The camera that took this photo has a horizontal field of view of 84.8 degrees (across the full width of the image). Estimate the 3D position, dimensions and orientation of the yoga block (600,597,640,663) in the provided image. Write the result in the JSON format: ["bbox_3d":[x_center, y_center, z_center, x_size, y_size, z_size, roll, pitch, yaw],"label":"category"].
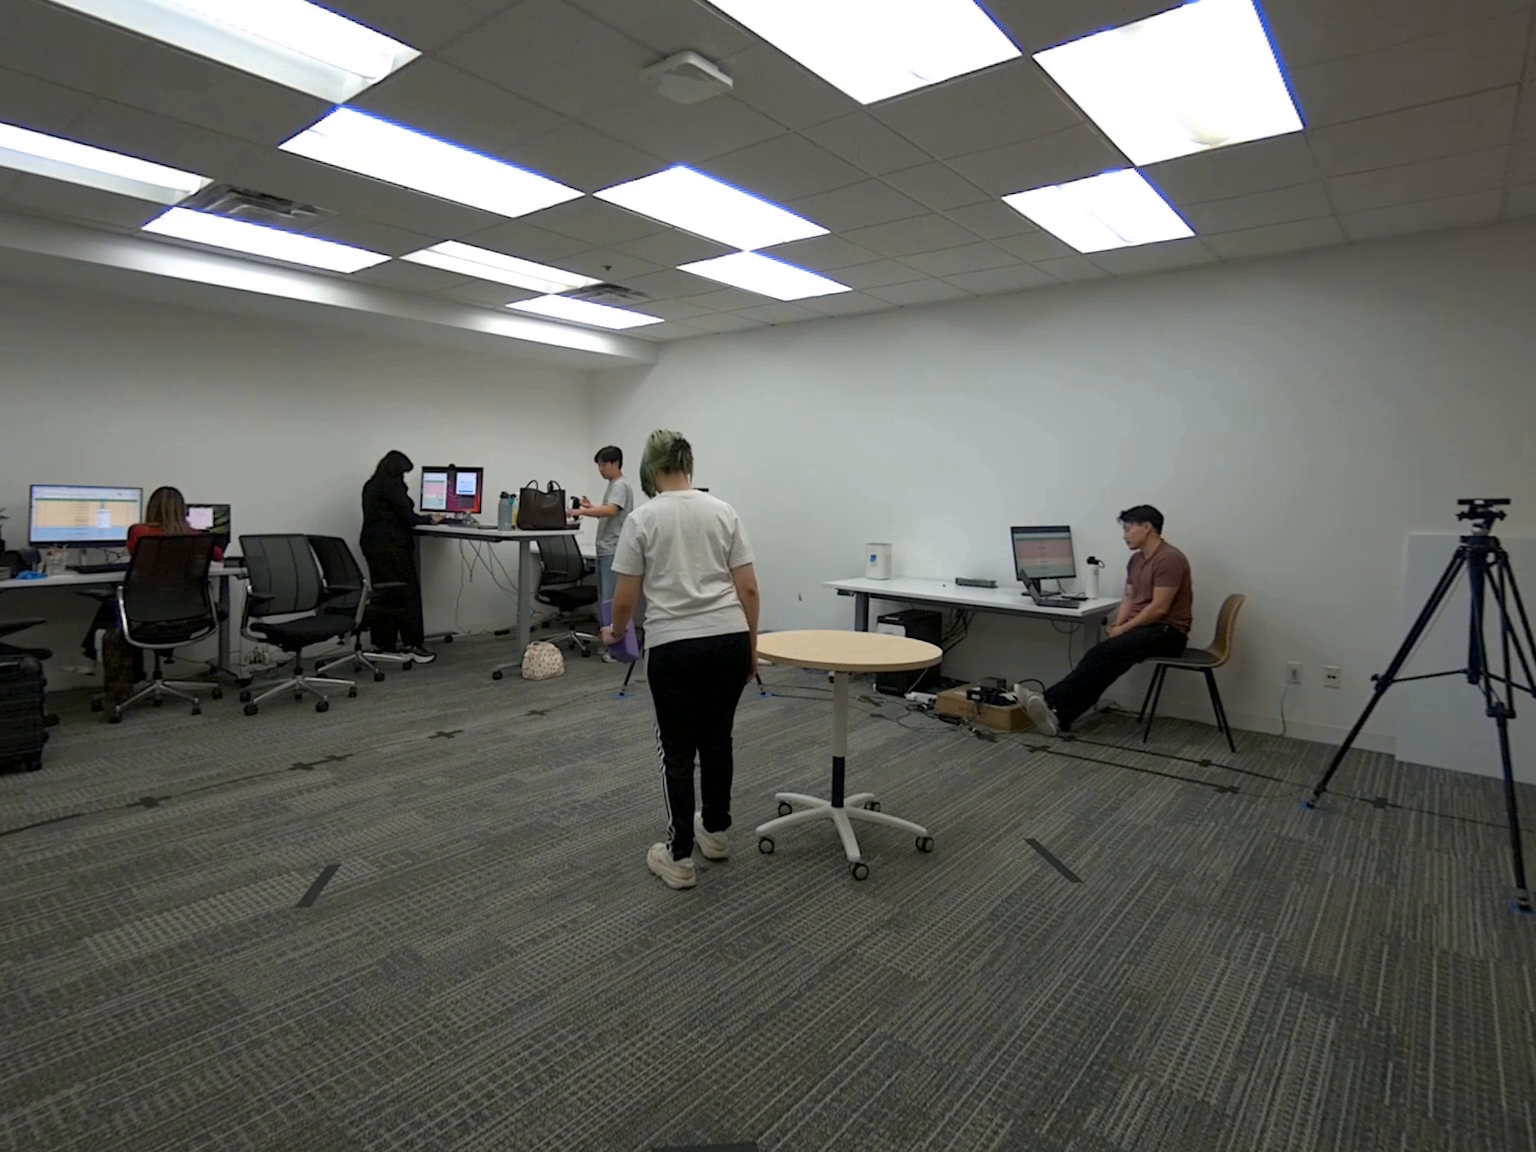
[{"bbox_3d":[-0.592,0.211,3.356,0.077,0.234,0.145,-15,-19,7],"label":"yoga block"}]
